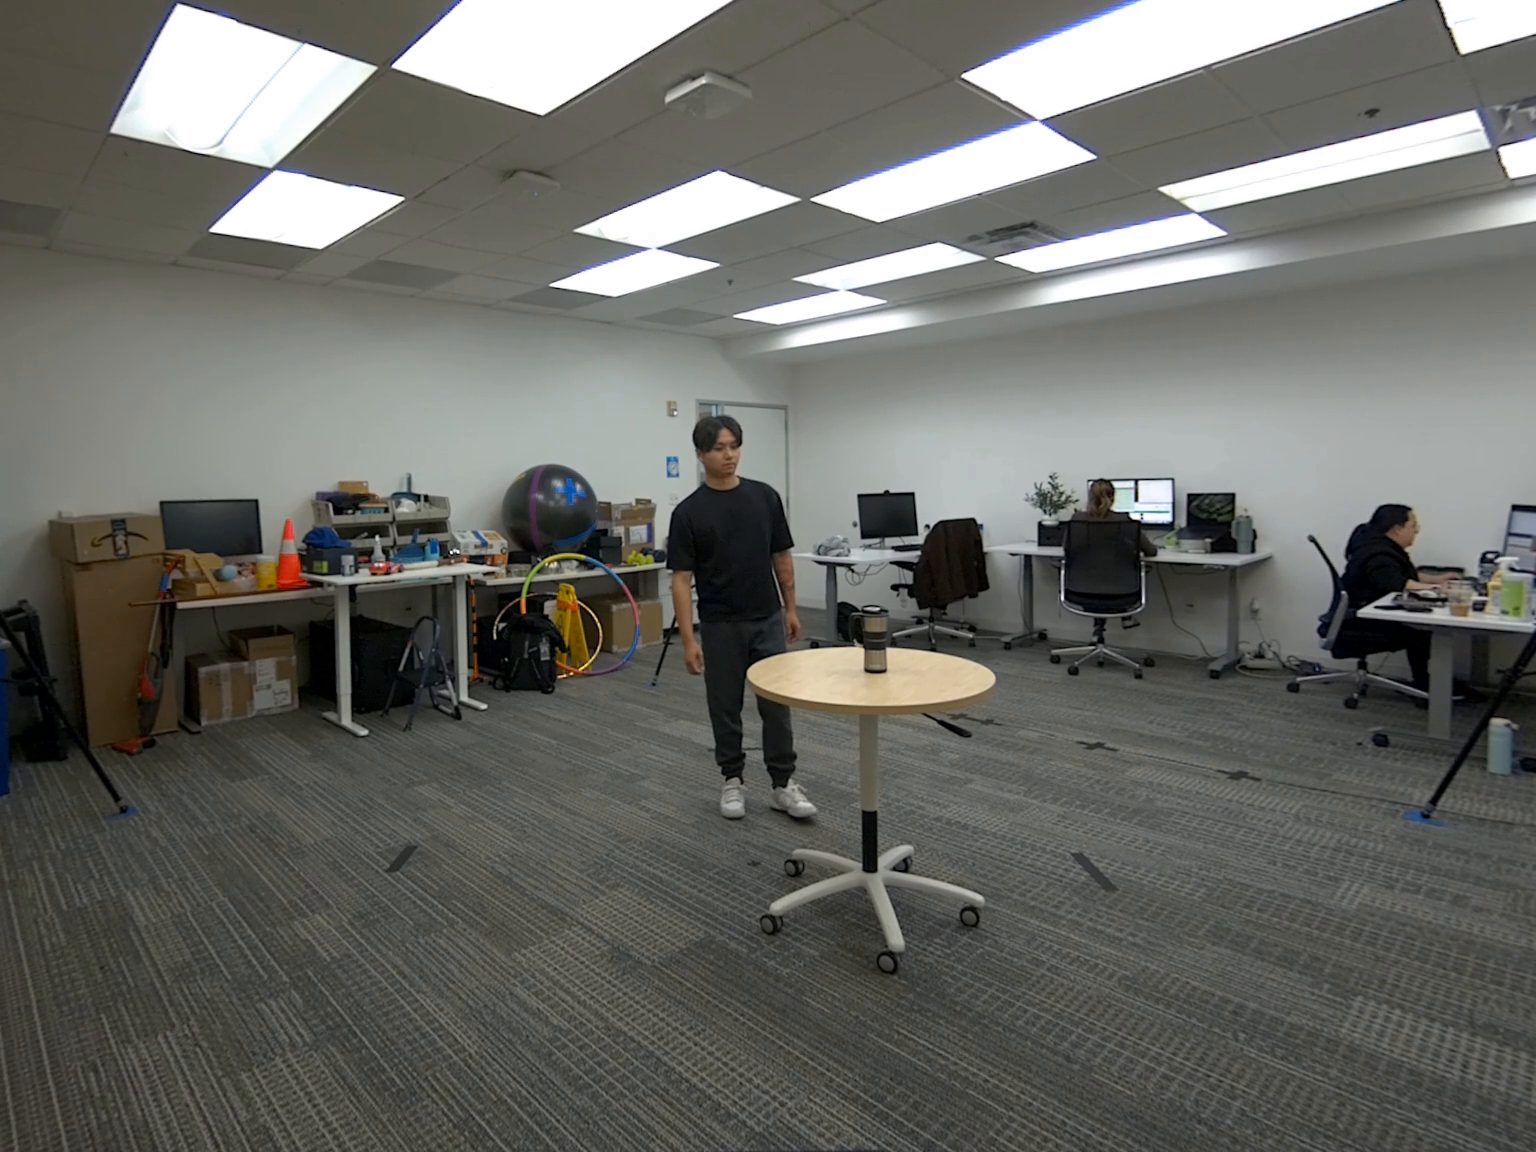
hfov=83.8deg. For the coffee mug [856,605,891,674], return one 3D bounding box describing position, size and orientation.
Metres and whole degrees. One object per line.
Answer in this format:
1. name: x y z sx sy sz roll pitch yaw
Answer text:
1. coffee mug: 0.332 0.200 2.708 0.086 0.201 0.126 -9 12 -39
